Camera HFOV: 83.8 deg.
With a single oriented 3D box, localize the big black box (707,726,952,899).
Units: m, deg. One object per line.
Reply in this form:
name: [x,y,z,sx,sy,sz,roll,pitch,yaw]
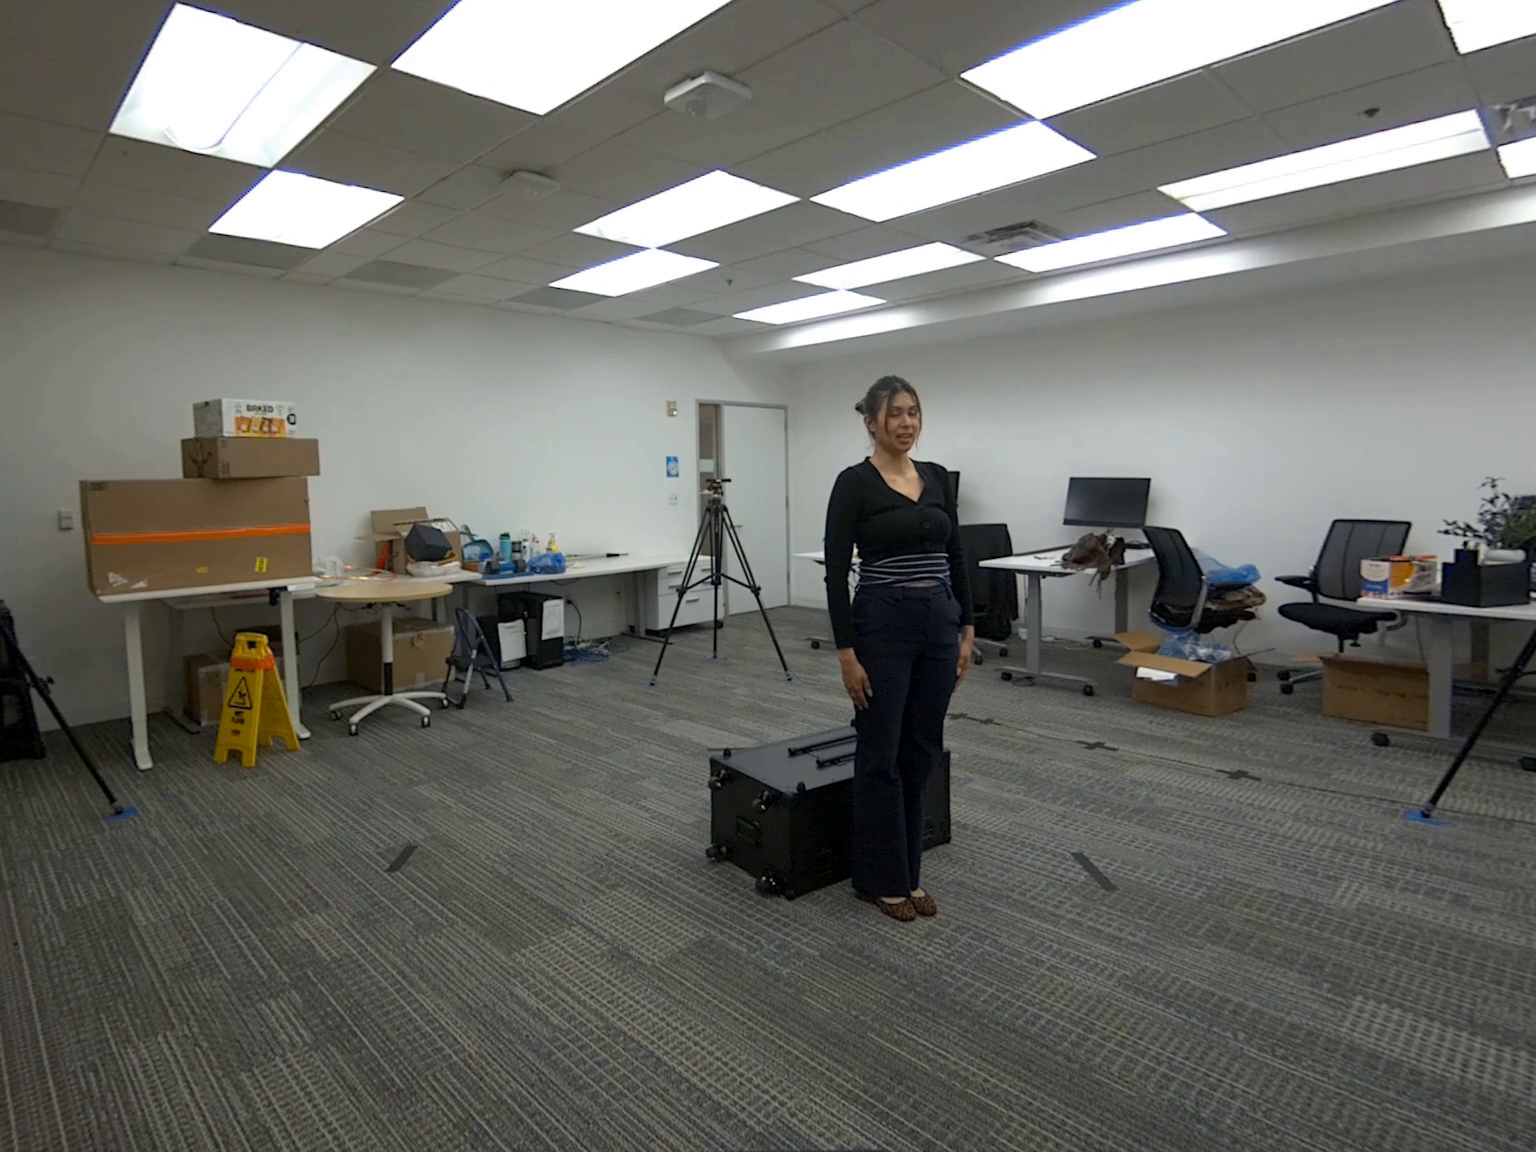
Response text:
big black box: [0.262,0.848,3.238,0.840,0.394,0.537,-5,7,-35]
